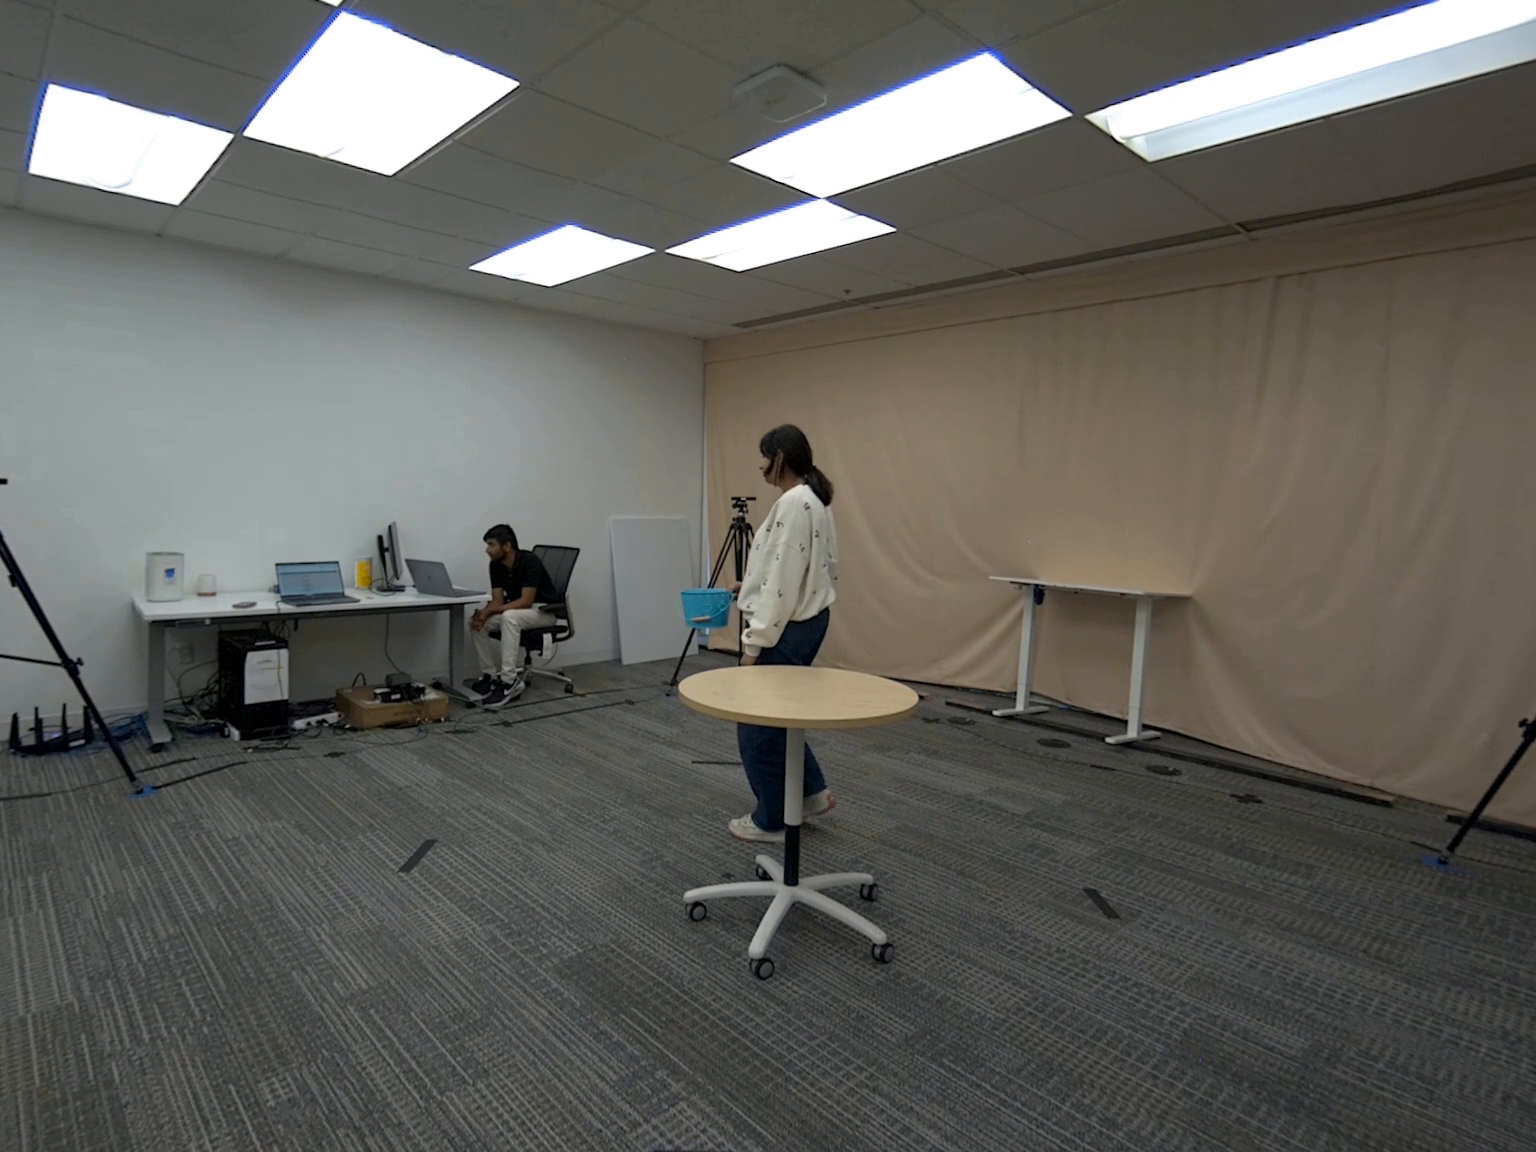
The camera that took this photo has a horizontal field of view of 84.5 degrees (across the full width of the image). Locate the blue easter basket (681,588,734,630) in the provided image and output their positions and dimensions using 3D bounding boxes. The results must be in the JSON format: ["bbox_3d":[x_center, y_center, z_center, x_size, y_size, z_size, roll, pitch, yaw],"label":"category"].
[{"bbox_3d":[-0.258,0.140,3.608,0.243,0.156,0.244,-1,2,-1],"label":"blue easter basket"}]
